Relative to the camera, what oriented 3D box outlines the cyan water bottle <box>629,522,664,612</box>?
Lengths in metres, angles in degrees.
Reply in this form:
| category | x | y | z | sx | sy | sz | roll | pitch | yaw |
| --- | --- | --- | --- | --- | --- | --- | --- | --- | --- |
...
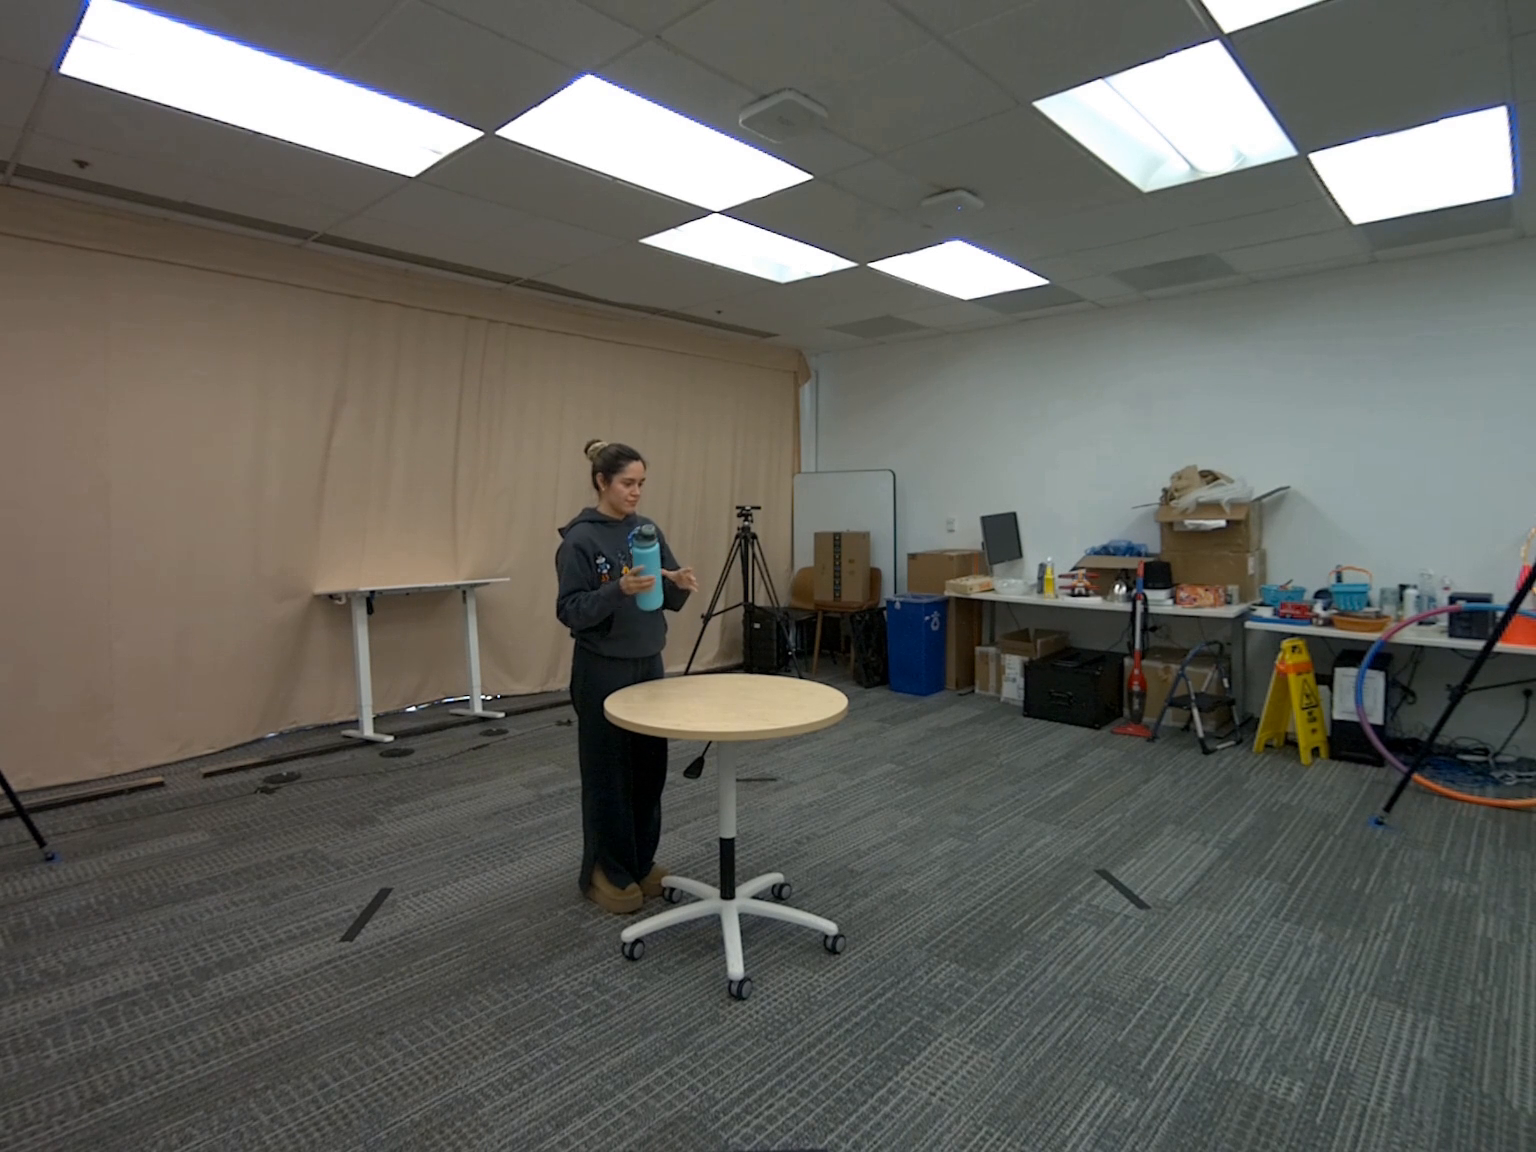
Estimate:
| category | x | y | z | sx | sy | sz | roll | pitch | yaw |
| --- | --- | --- | --- | --- | --- | --- | --- | --- | --- |
| cyan water bottle | -0.389 | -0.025 | 2.716 | 0.092 | 0.279 | 0.094 | 0 | 27 | -2 |
